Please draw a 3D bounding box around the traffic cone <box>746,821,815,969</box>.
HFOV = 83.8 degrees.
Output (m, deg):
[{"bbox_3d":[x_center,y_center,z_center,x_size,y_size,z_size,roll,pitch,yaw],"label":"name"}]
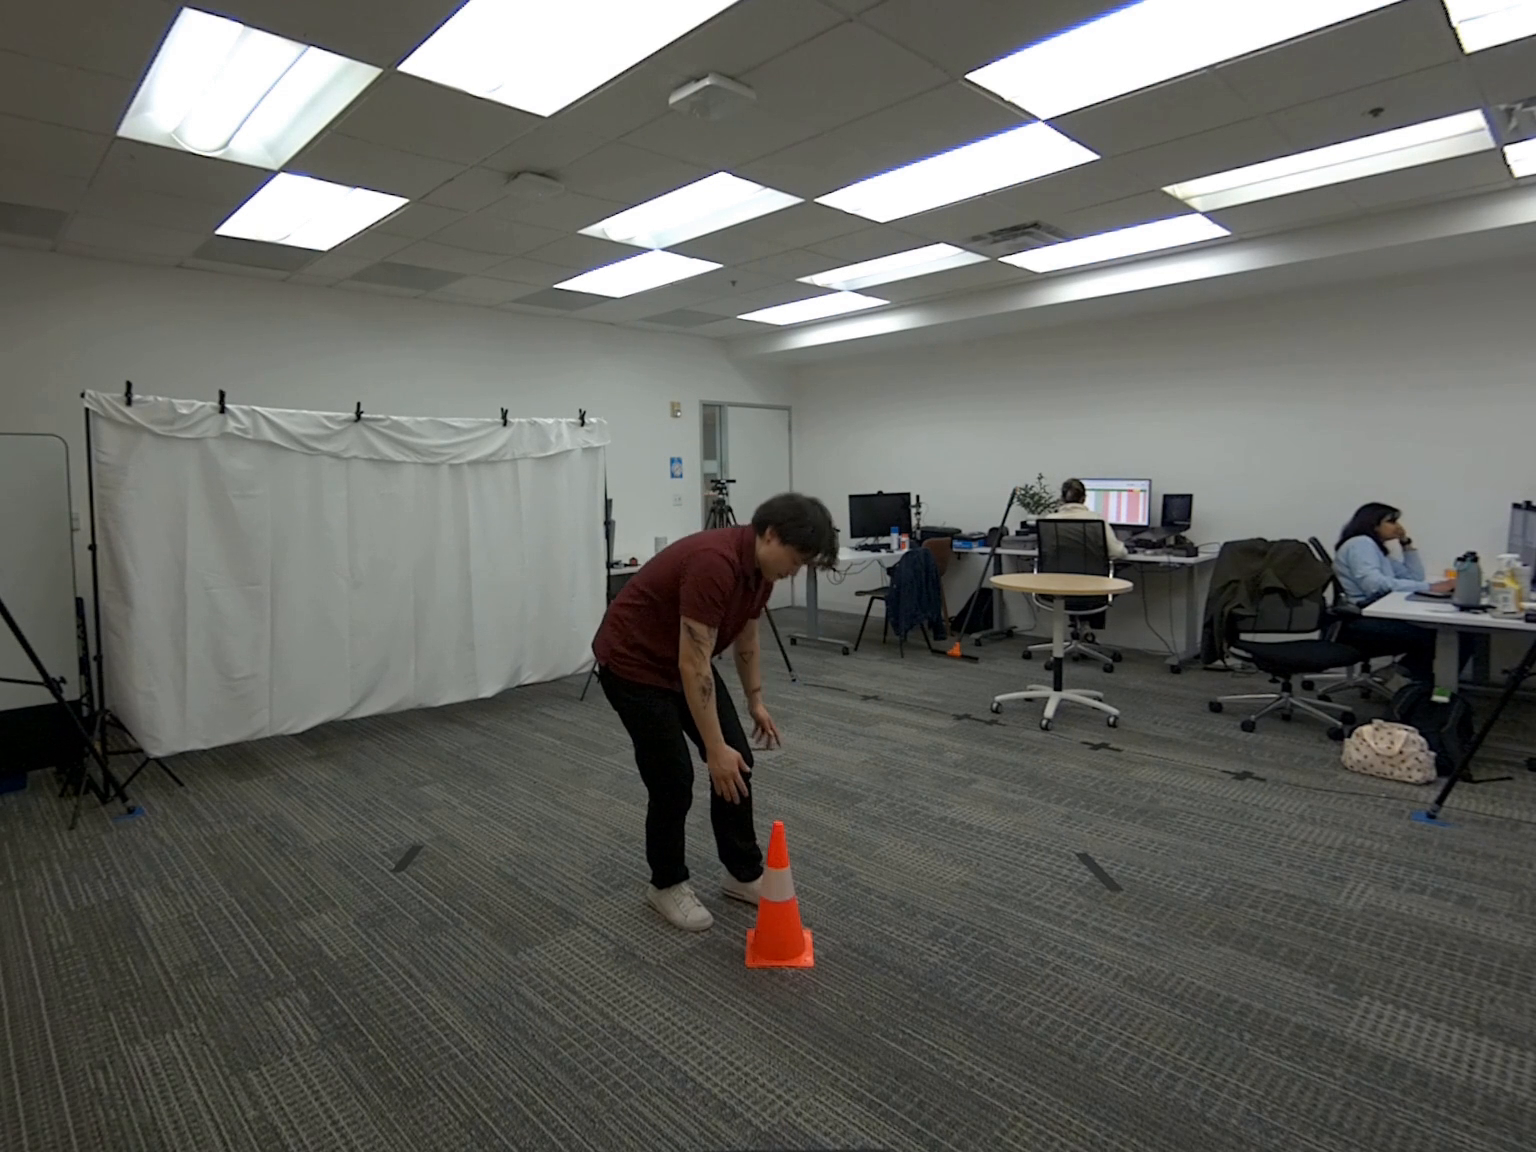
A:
[{"bbox_3d":[0.037,0.931,2.527,0.204,0.381,0.205,-1,6,3],"label":"traffic cone"}]
